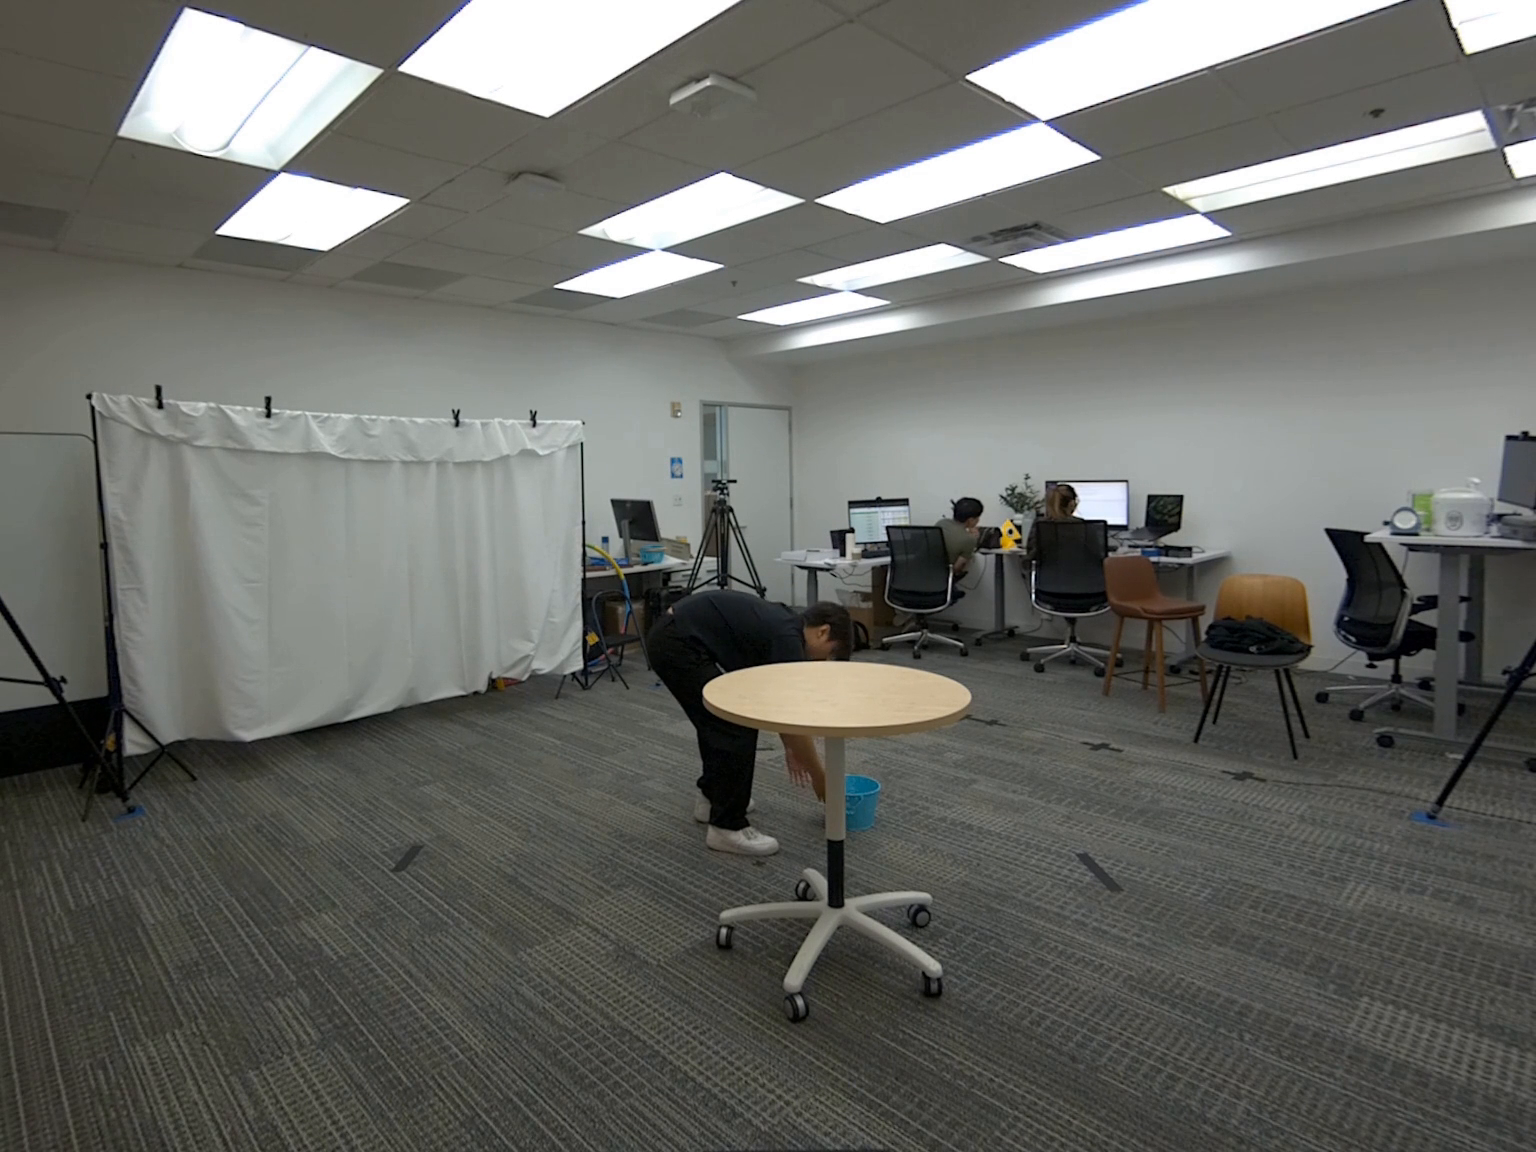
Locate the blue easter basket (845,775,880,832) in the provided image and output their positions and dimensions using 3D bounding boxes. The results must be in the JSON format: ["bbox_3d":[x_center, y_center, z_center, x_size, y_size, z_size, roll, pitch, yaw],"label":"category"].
[{"bbox_3d":[0.342,0.924,3.479,0.243,0.155,0.245,-1,5,-2],"label":"blue easter basket"}]
